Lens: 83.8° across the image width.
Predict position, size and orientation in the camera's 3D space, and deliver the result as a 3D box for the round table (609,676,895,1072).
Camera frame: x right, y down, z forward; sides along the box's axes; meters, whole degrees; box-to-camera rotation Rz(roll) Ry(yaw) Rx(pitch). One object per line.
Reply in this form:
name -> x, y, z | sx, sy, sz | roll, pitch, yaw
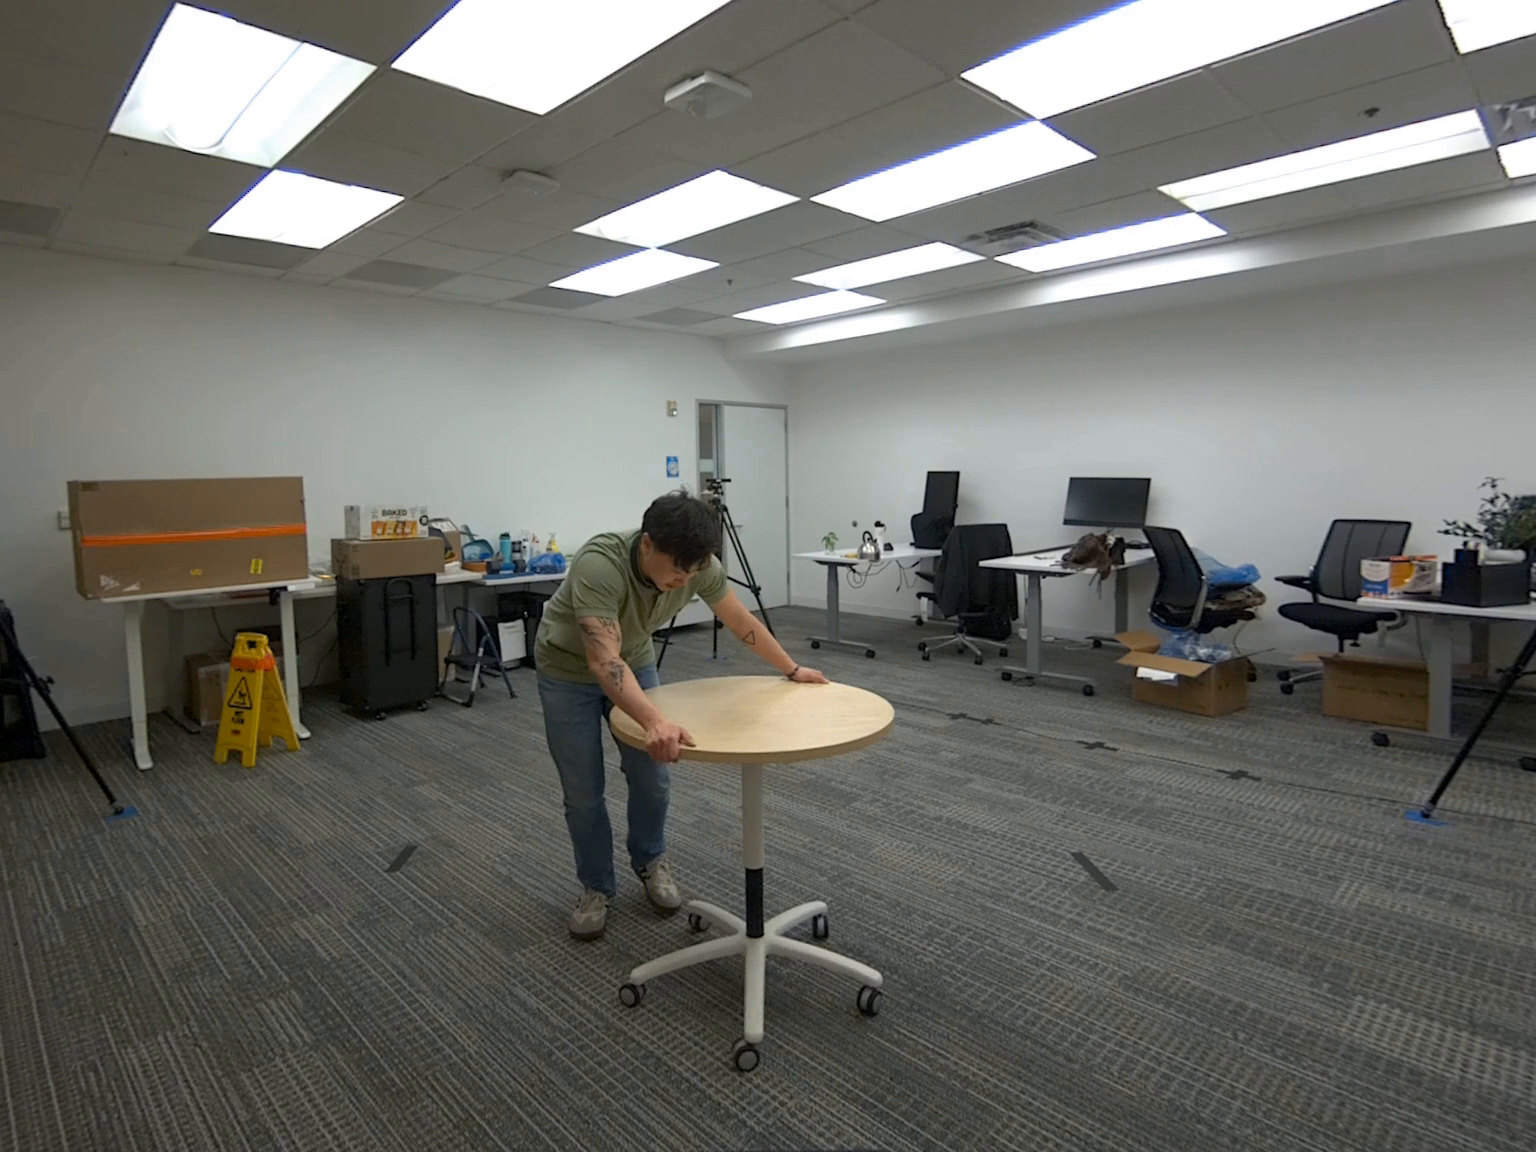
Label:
round table -> -0.038, 0.750, 2.344 | 0.763, 0.791, 0.768 | -1, 5, -2
